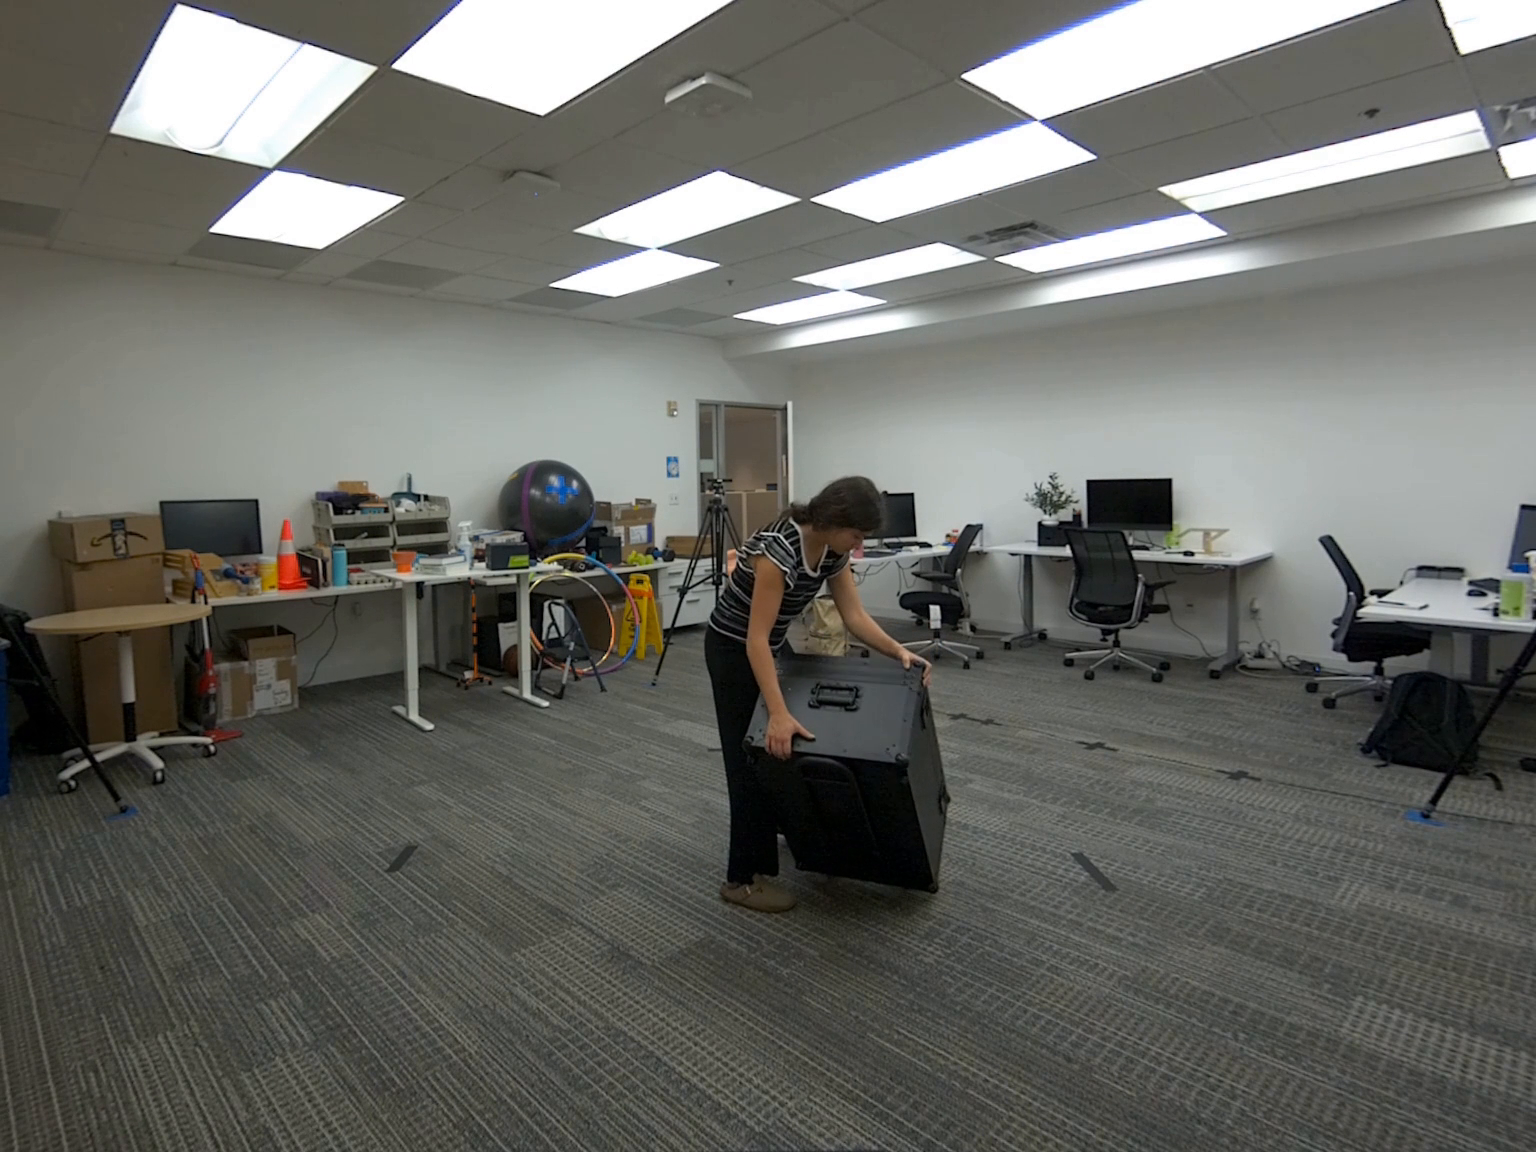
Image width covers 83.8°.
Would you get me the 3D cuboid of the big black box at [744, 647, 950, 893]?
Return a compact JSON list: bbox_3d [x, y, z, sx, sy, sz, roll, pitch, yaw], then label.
[{"bbox_3d":[0.310,0.682,2.791,0.532,0.831,0.402,1,46,21],"label":"big black box"}]
